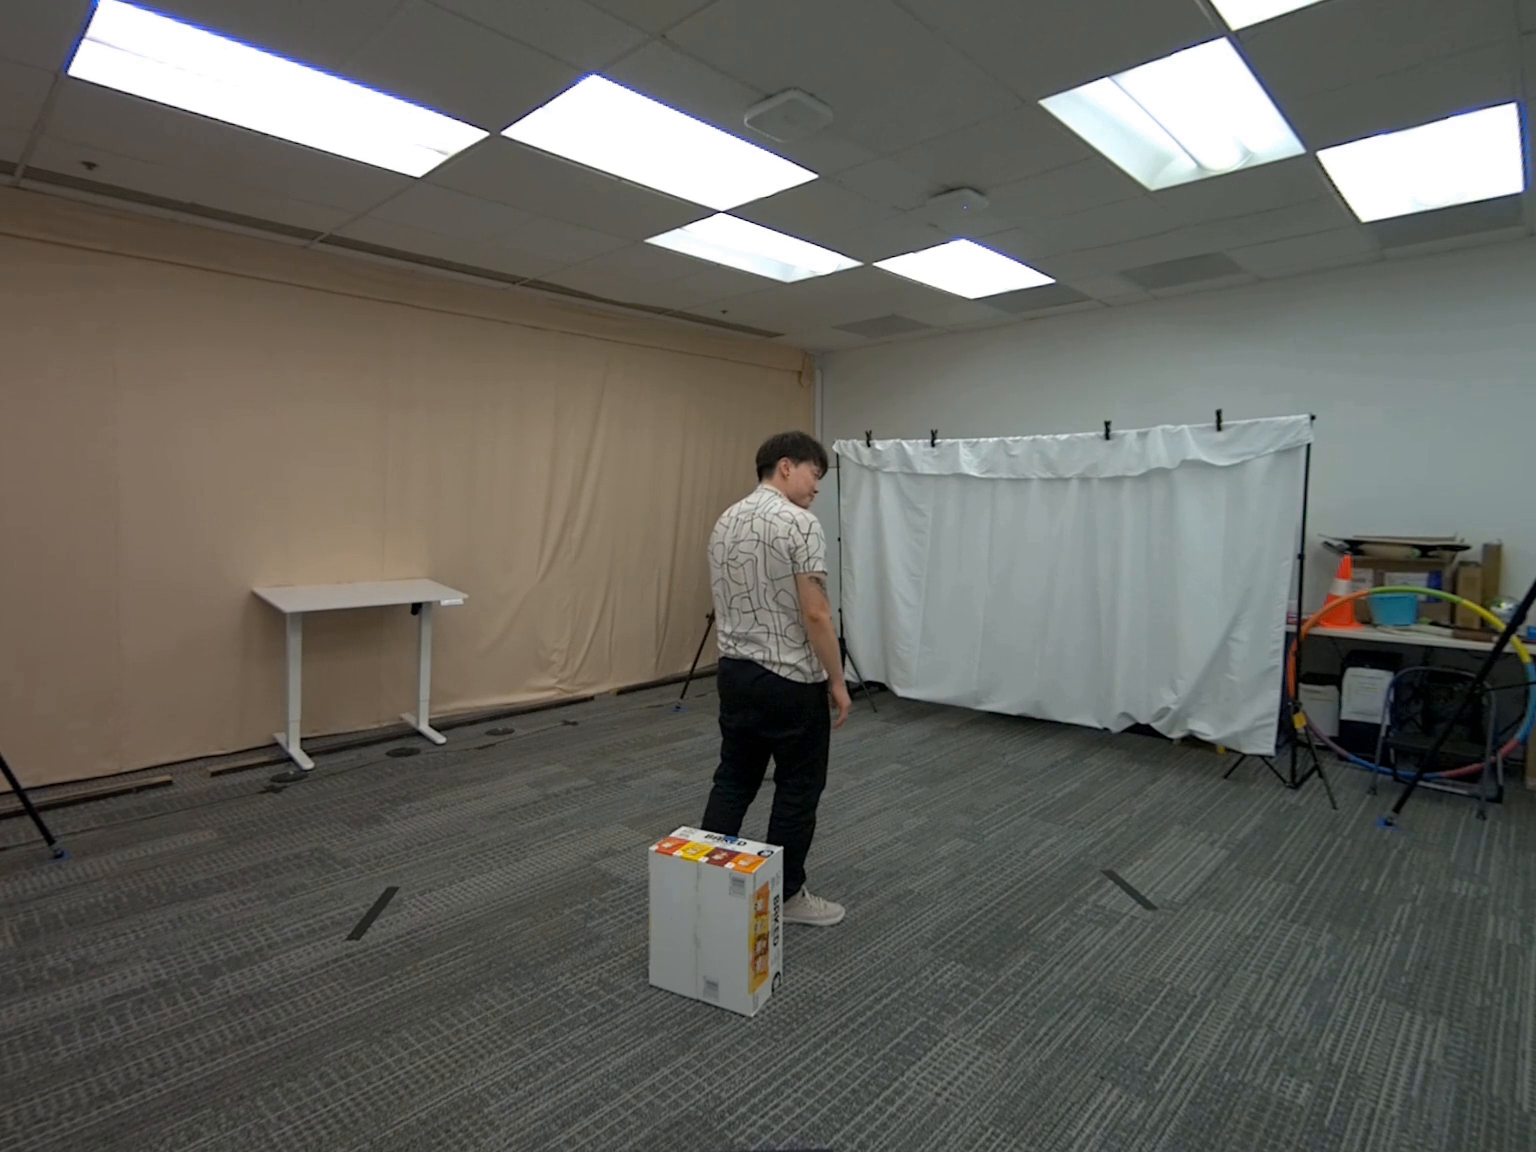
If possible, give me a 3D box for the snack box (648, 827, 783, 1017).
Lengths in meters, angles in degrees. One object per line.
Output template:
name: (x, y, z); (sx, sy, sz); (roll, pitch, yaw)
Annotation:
snack box: (-0.151, 0.985, 2.440); (0.350, 0.404, 0.200); (2, 3, 28)
